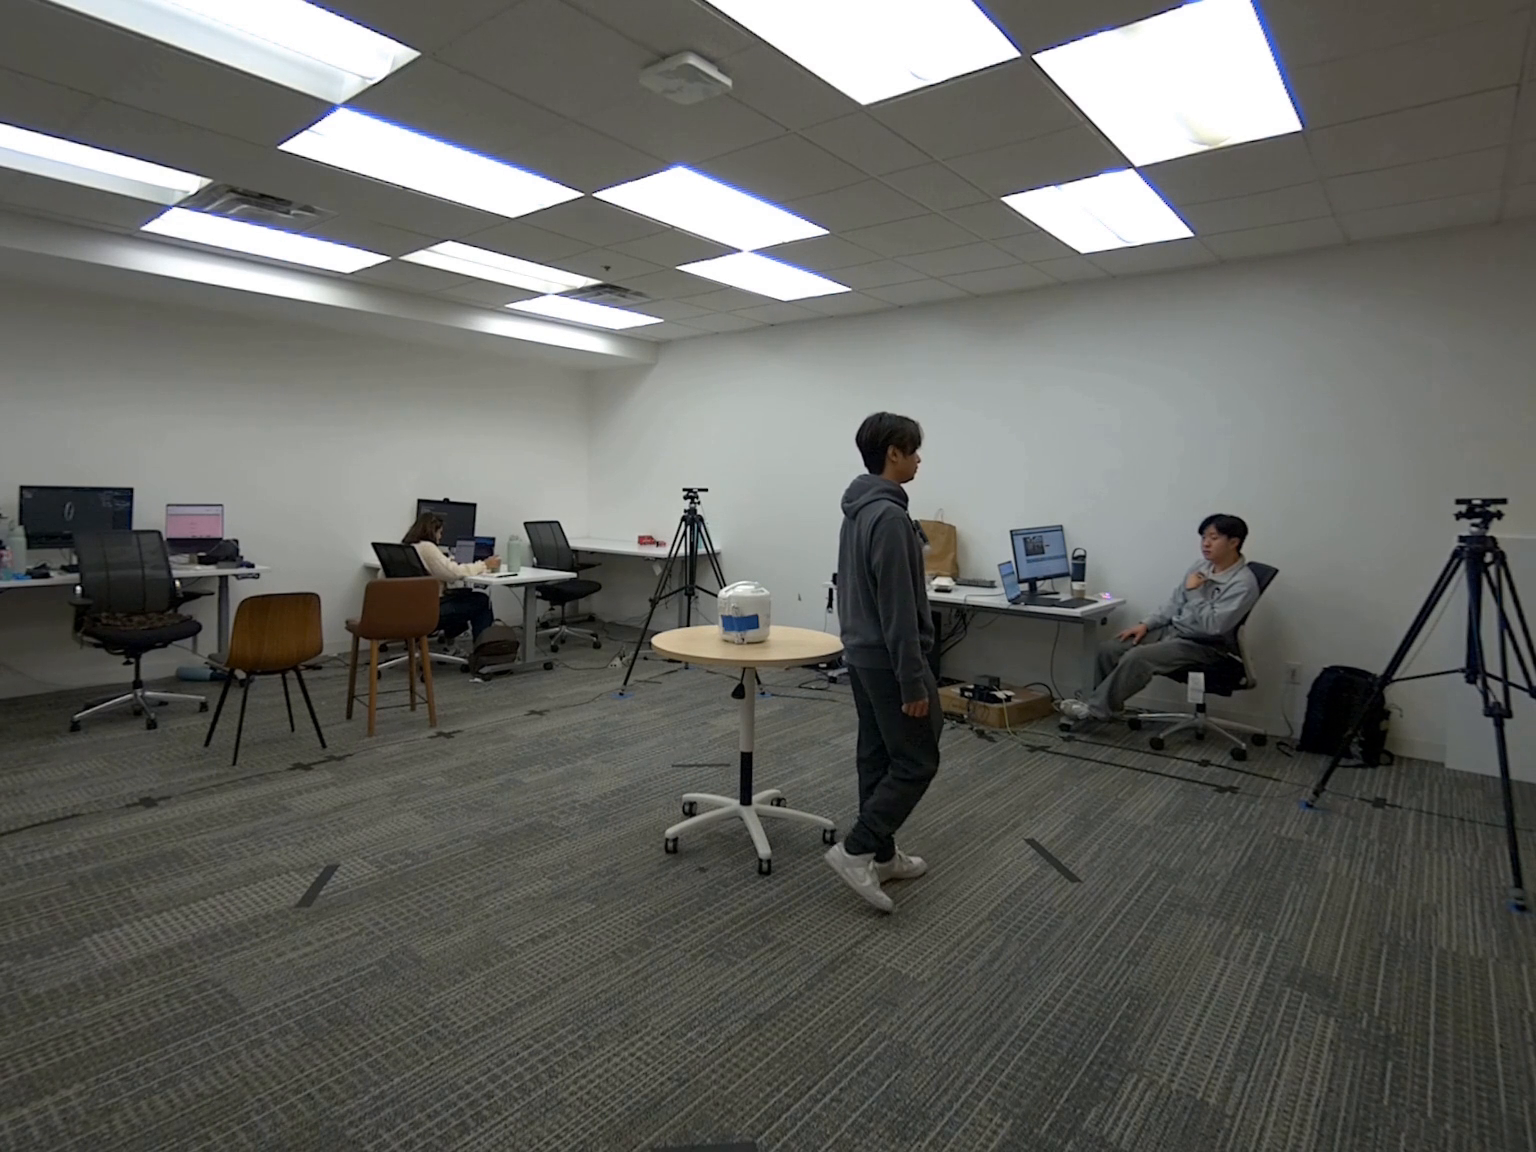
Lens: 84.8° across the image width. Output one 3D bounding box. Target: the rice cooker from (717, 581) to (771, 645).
[{"bbox_3d":[-0.106,0.135,3.359,0.214,0.232,0.225,-2,6,-34],"label":"rice cooker"}]
